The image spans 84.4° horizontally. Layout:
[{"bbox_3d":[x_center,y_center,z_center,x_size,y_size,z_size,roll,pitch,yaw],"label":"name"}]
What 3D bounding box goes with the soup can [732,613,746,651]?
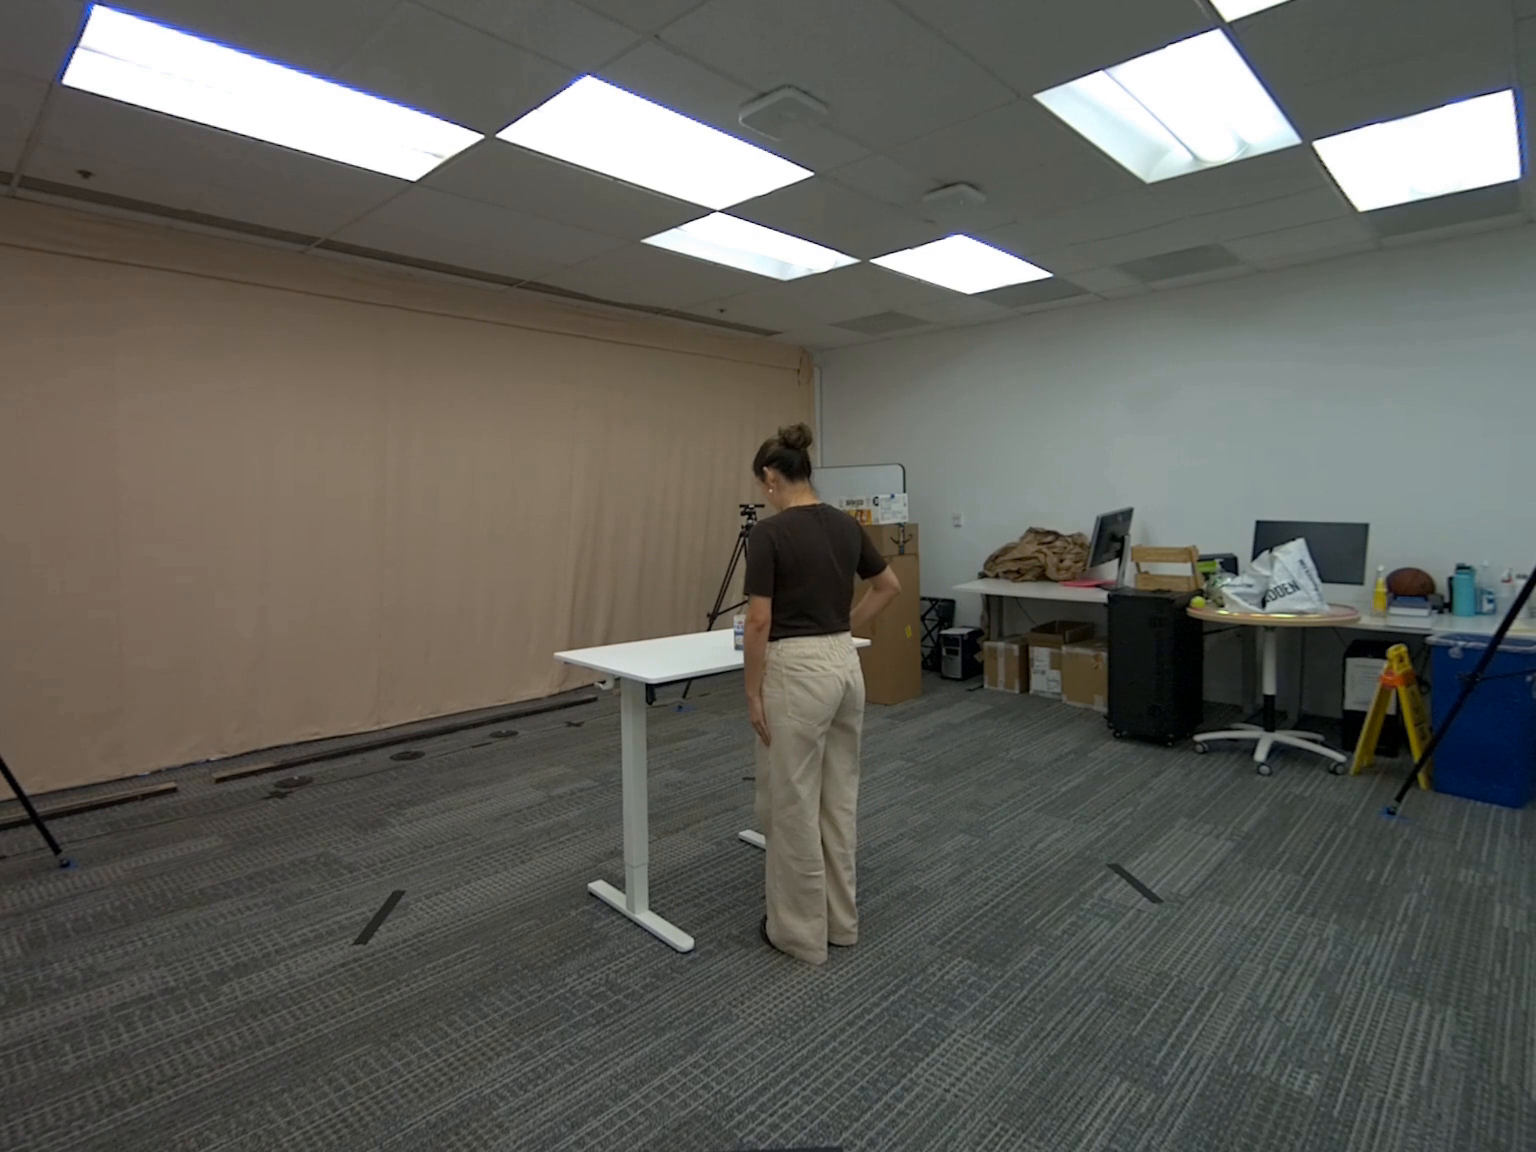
[{"bbox_3d":[-0.079,0.203,2.973,0.067,0.121,0.067,1,1,-2],"label":"soup can"}]
